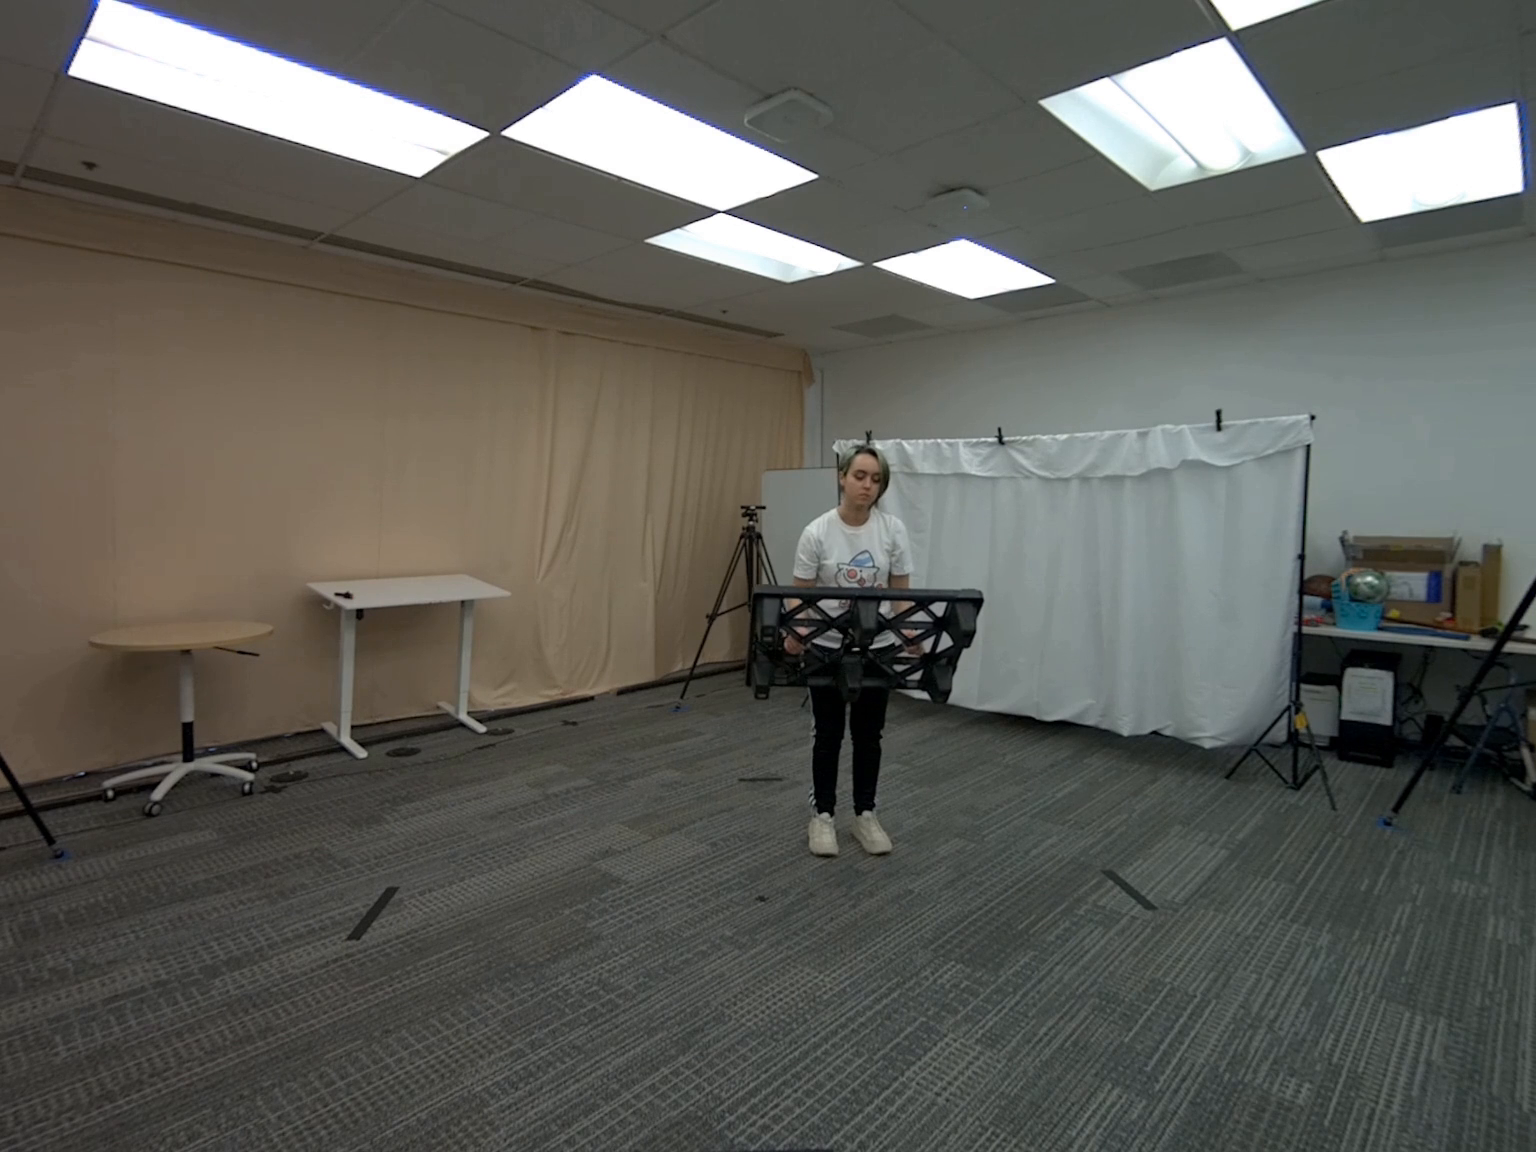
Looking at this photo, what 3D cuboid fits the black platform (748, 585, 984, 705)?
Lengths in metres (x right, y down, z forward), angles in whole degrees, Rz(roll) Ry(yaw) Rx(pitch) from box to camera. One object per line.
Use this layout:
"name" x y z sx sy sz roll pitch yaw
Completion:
"black platform" 0.324 0.274 3.073 0.806 0.146 0.594 3 -42 0
